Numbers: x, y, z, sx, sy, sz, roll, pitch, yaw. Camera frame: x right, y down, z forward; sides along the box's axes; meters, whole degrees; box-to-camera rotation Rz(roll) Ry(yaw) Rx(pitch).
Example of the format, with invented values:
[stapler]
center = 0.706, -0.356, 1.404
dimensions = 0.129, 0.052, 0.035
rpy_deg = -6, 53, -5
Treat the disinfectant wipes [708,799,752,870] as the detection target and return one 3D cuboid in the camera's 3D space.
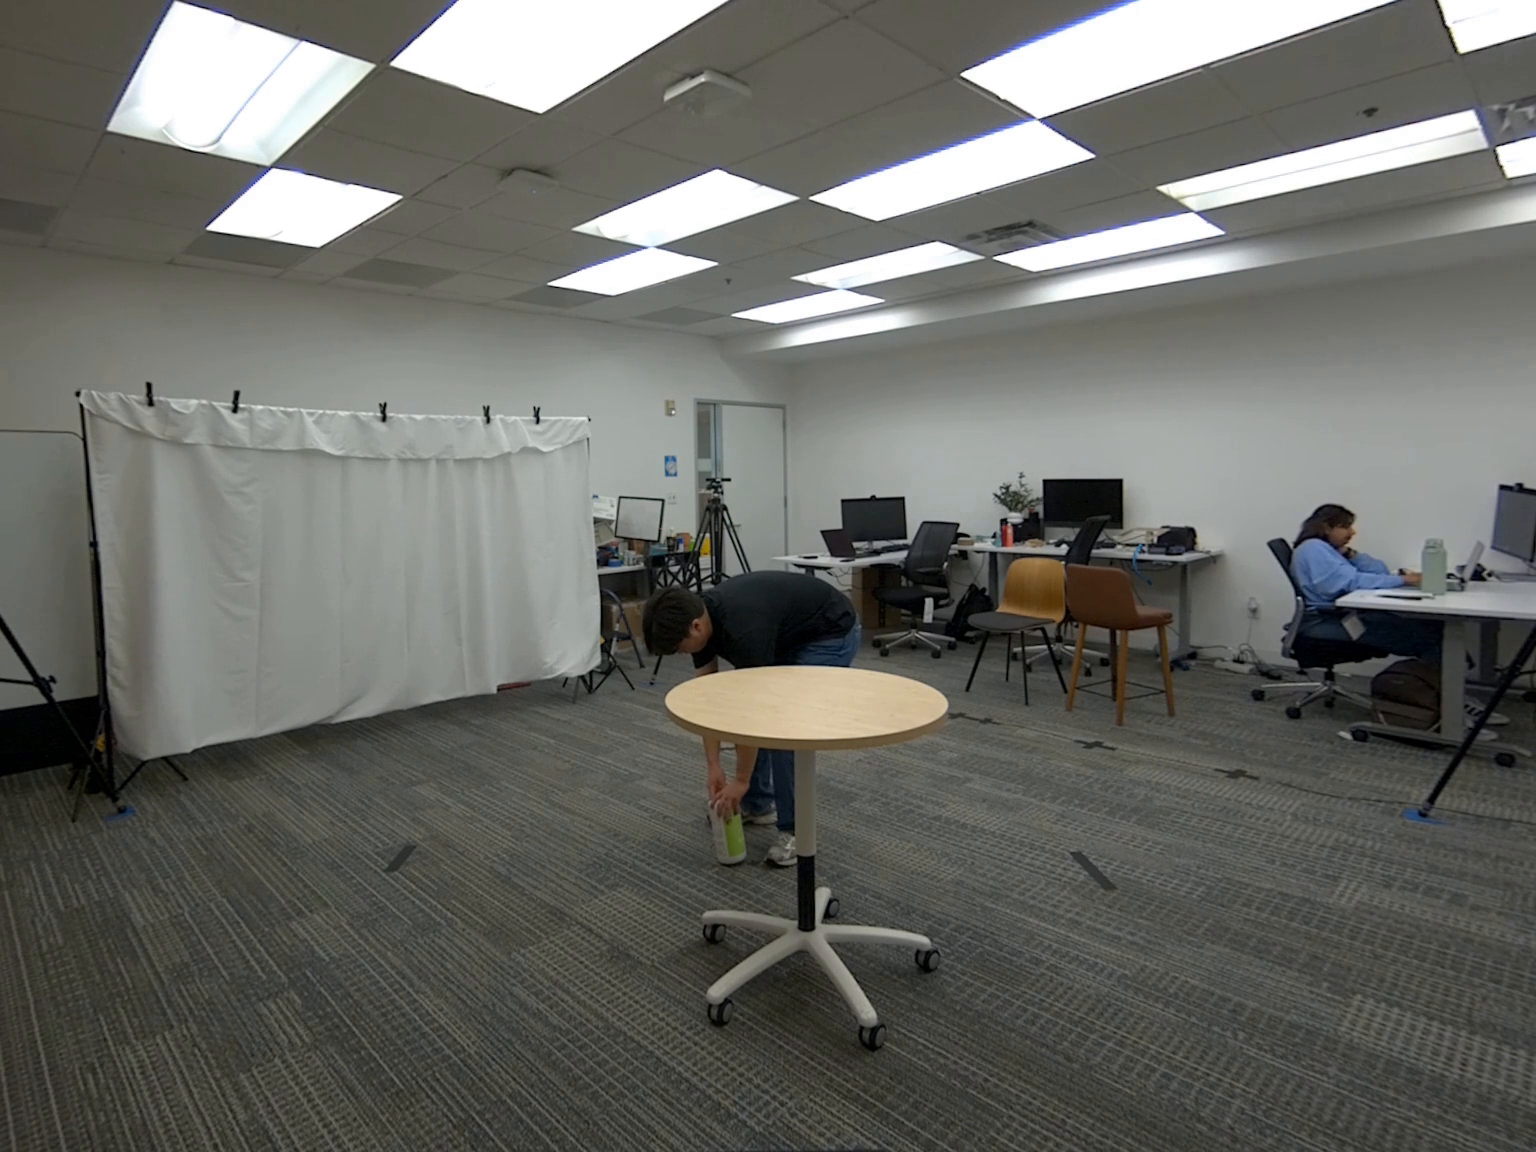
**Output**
[disinfectant wipes]
center = -0.140, 0.929, 3.119
dimensions = 0.118, 0.217, 0.118
rpy_deg = -9, 0, -2
